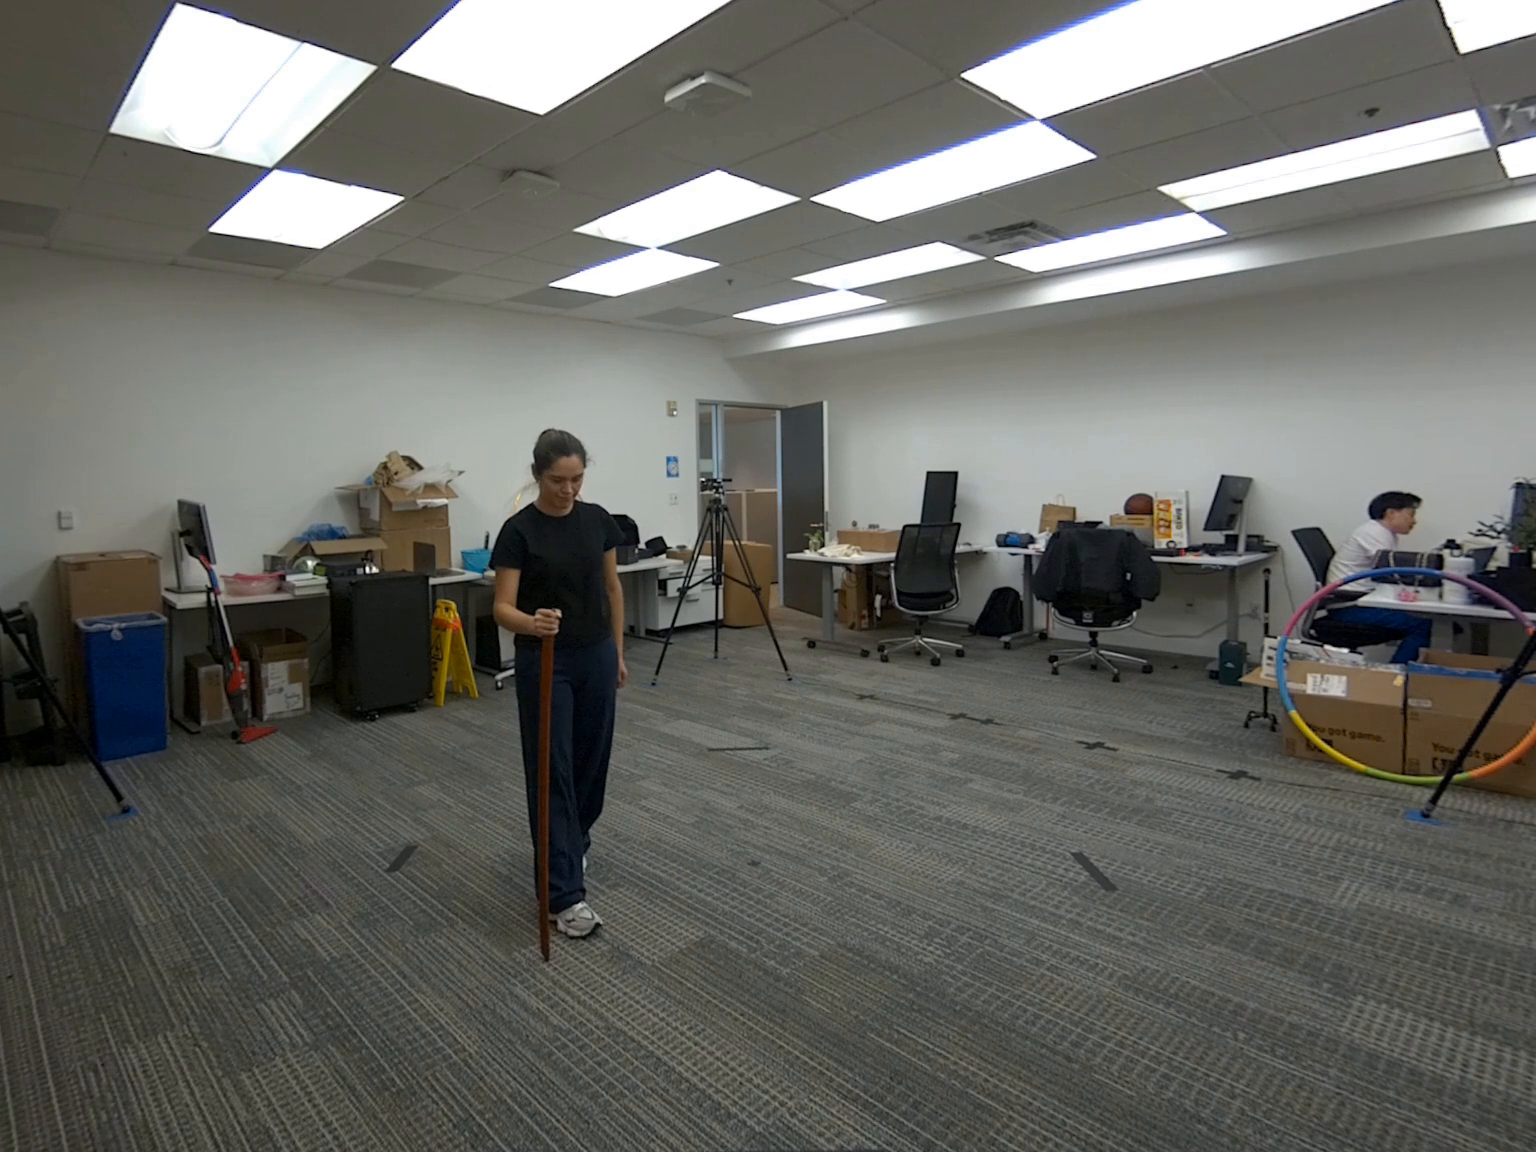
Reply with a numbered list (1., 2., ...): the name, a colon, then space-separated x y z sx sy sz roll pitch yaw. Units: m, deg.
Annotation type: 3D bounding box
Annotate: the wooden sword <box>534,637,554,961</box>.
1. wooden sword: -0.649 0.622 2.519 0.050 1.025 0.024 1 0 -21
